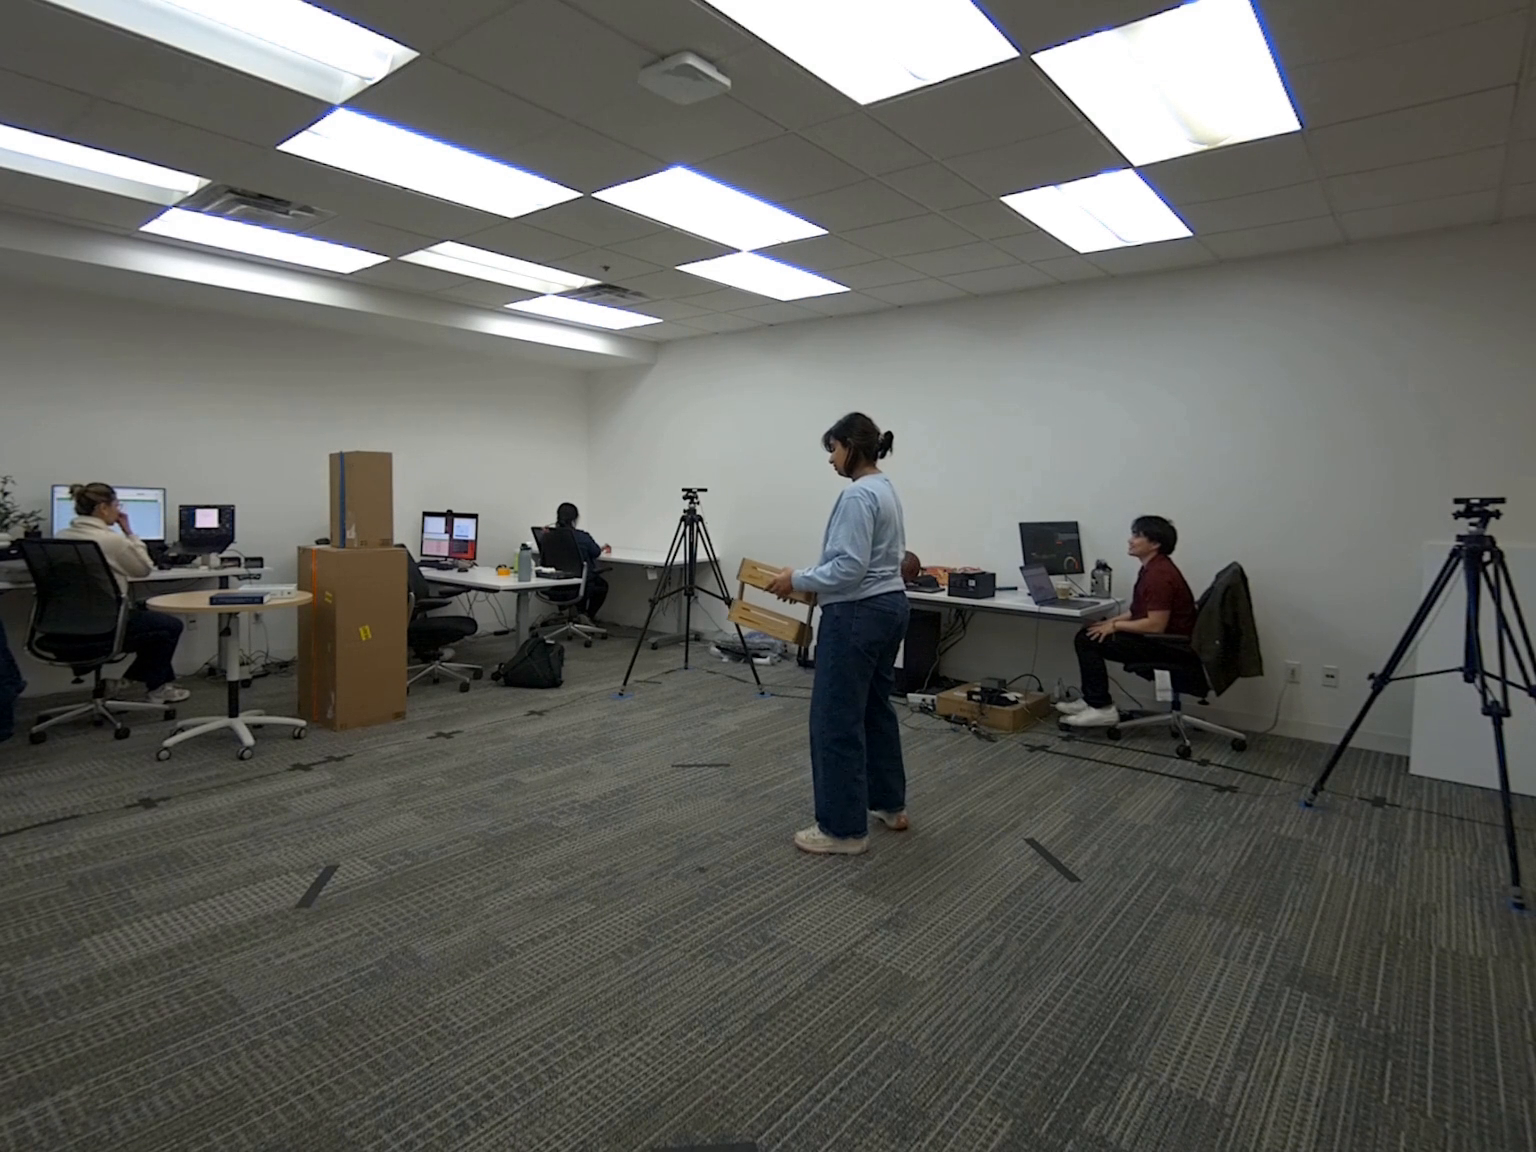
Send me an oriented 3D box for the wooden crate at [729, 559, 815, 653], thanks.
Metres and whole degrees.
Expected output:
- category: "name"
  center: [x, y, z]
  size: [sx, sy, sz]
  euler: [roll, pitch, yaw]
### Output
- category: "wooden crate"
  center: [0.031, 0.105, 3.515]
  size: [0.333, 0.274, 0.293]
  euler: [17, -4, 22]
